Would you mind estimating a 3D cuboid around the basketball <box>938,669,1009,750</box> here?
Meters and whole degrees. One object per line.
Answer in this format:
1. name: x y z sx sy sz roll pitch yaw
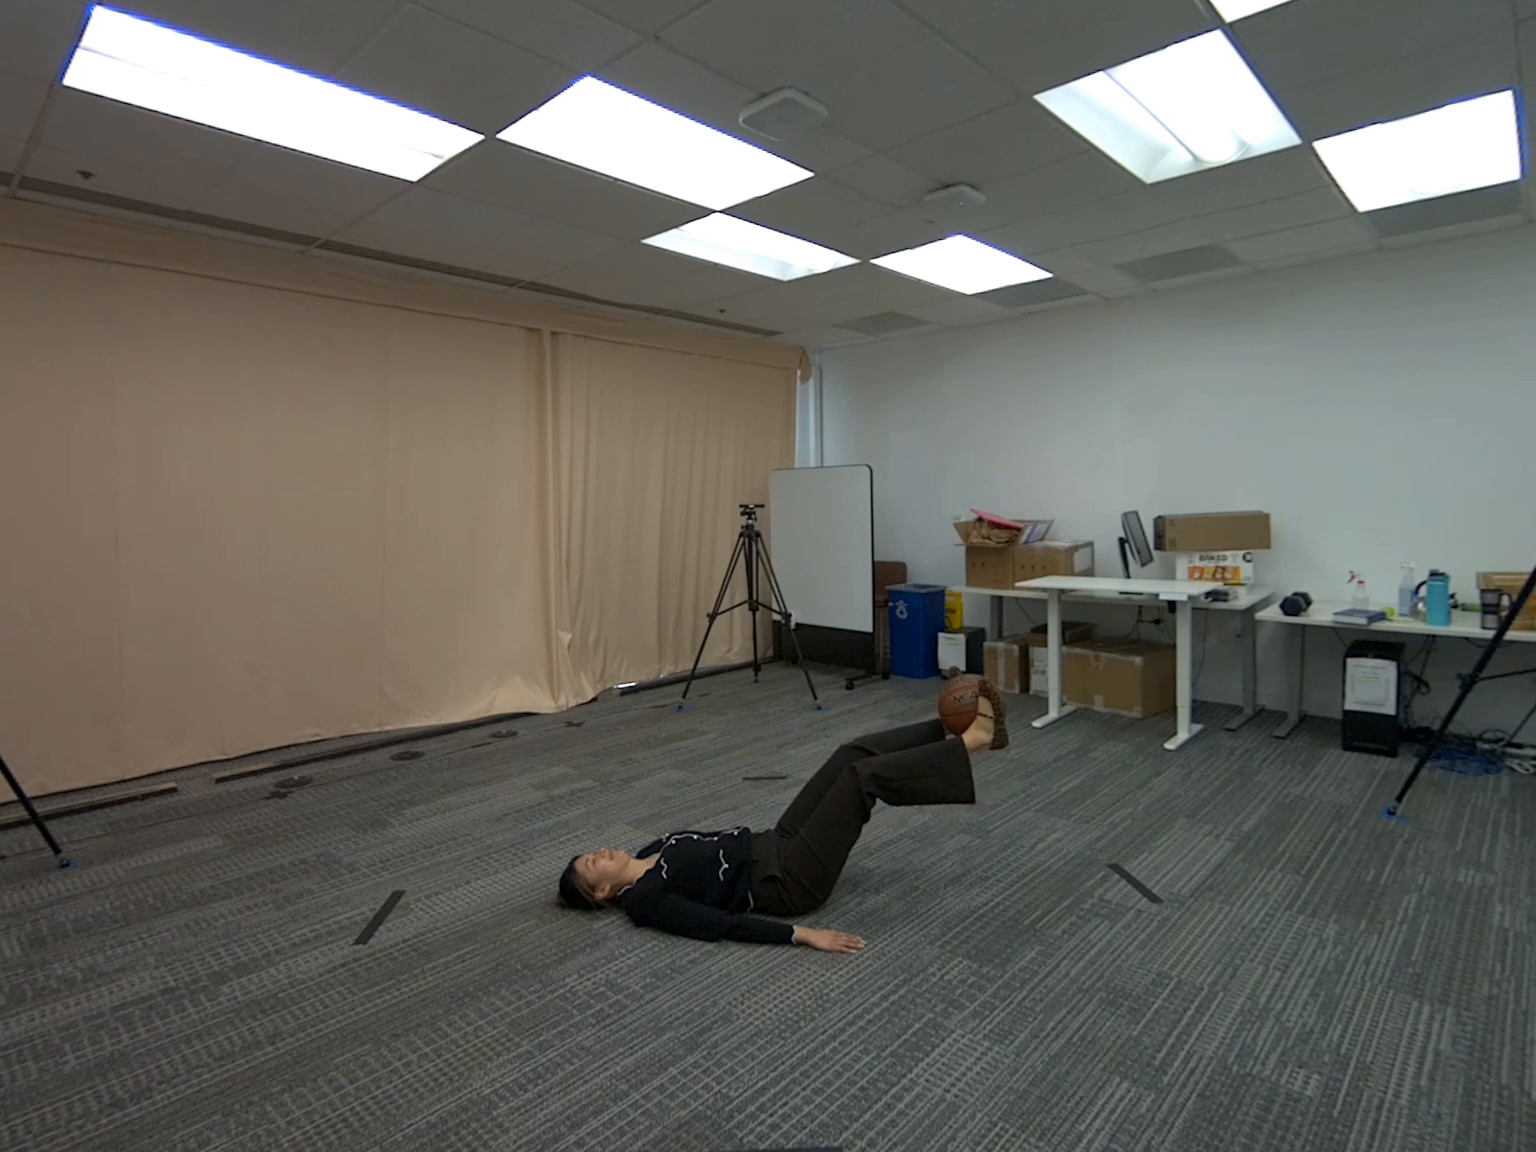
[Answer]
1. basketball: 0.737 0.470 3.022 0.236 0.236 0.236 0 1 -2
